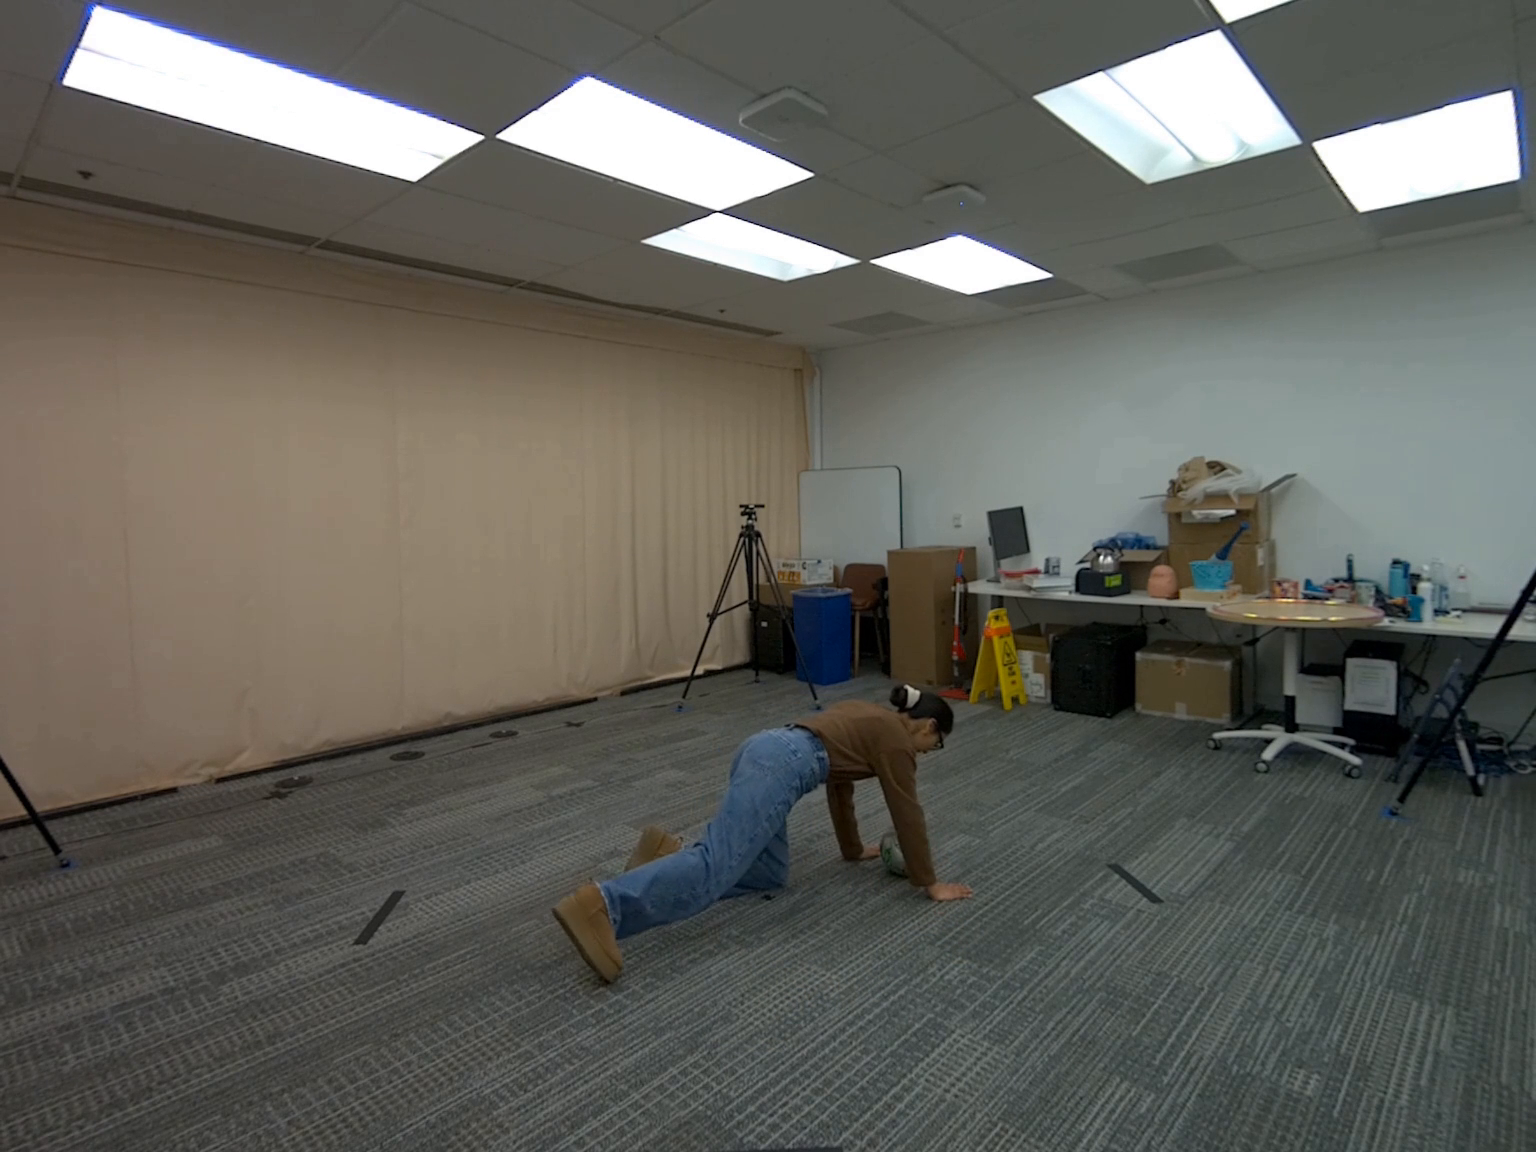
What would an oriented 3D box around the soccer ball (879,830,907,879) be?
[{"bbox_3d":[0.522,1.031,3.143,0.187,0.187,0.188,-1,4,-2],"label":"soccer ball"}]
